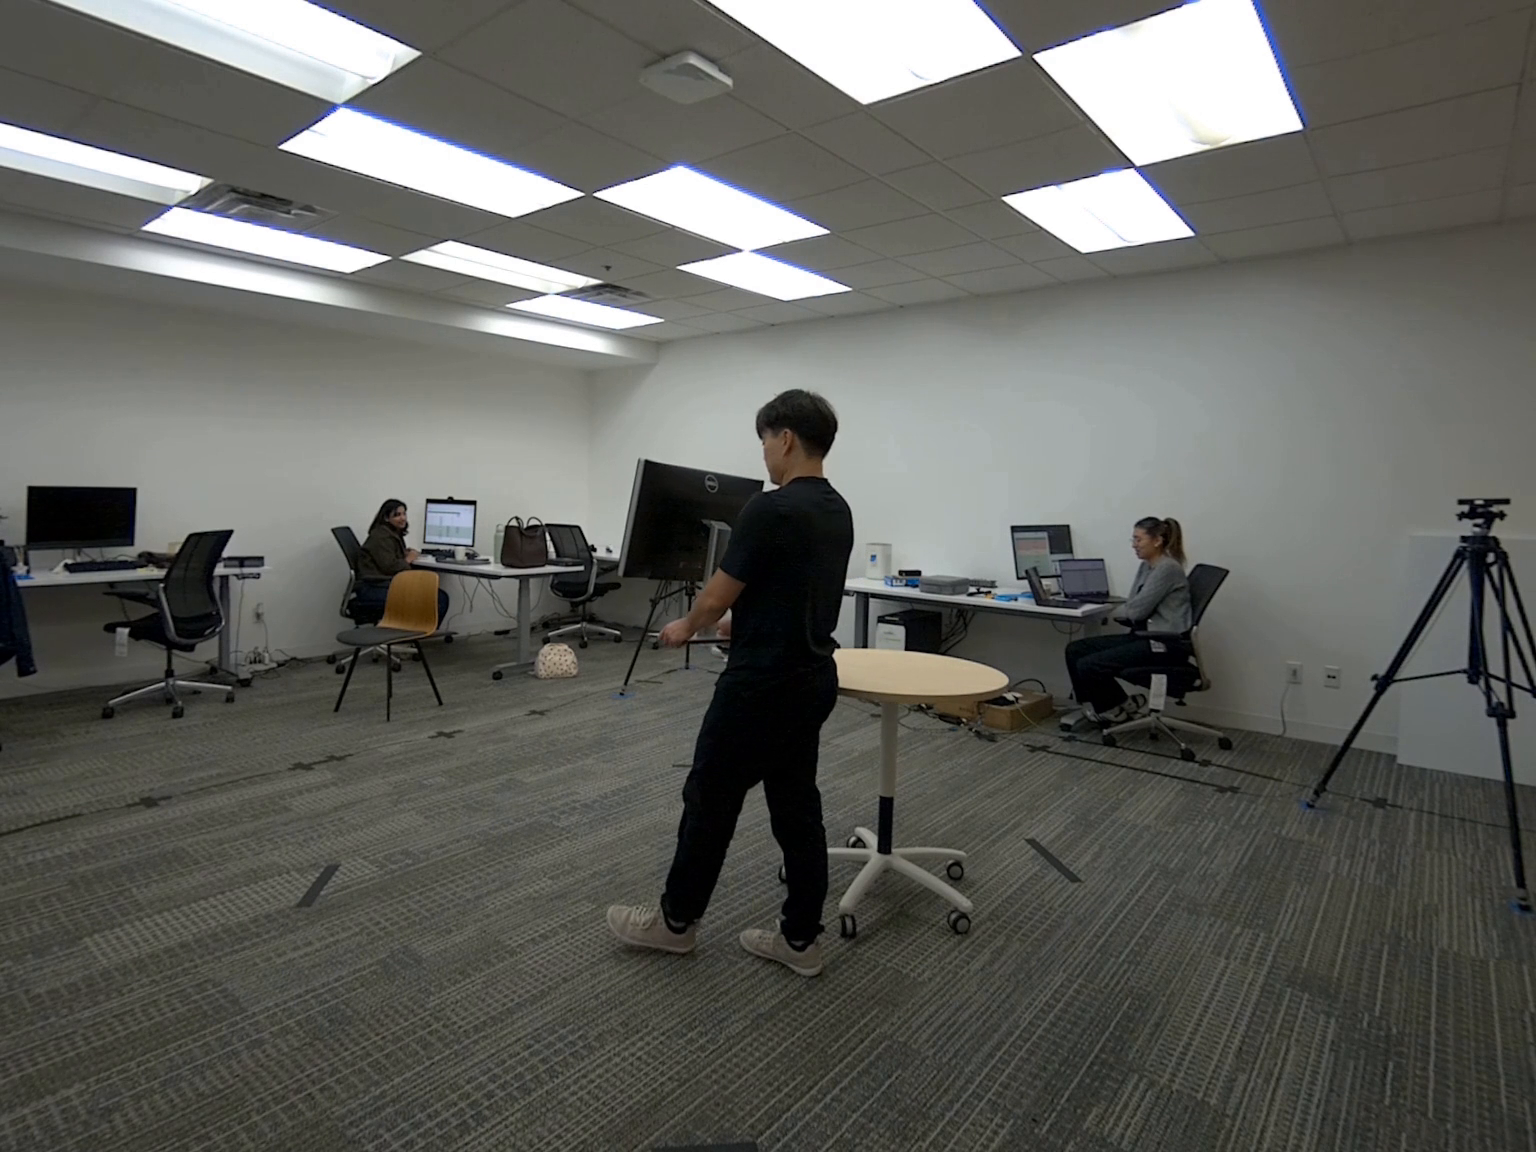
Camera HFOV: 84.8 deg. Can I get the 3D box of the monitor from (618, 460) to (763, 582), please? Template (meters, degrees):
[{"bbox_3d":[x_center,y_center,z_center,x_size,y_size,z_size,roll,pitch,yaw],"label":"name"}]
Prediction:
[{"bbox_3d":[-0.223,-0.077,2.694,0.193,0.524,0.521,0,-3,41],"label":"monitor"}]
